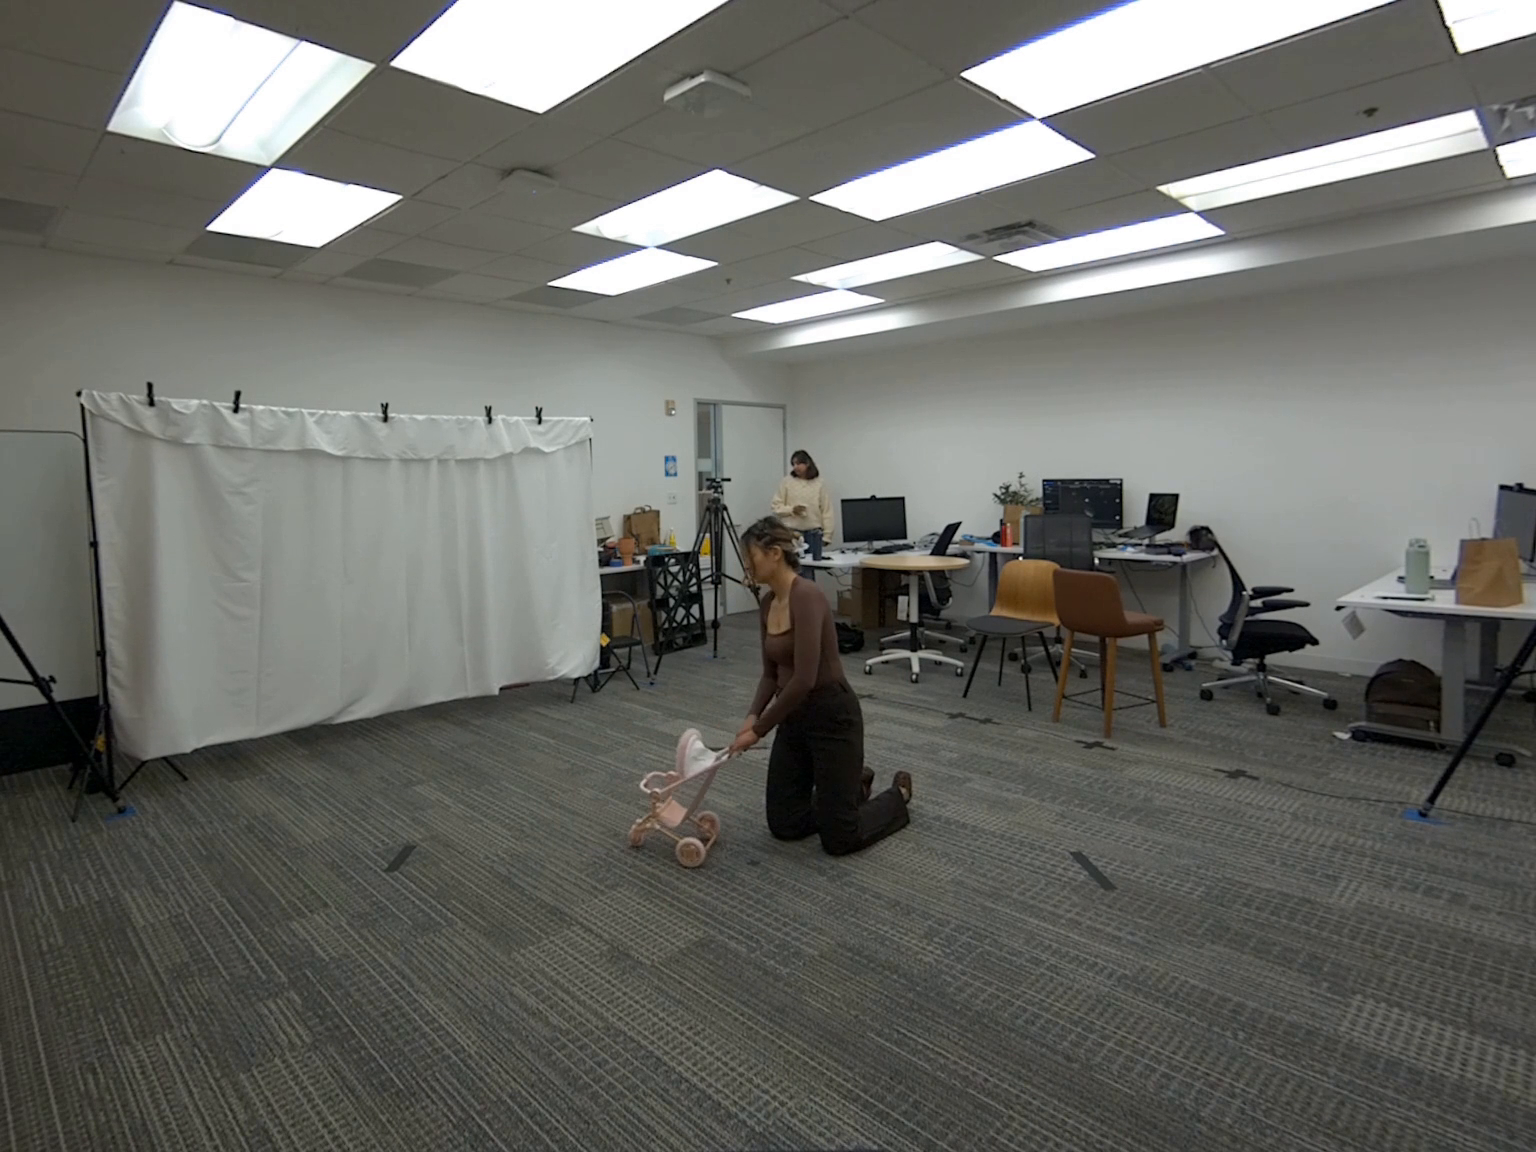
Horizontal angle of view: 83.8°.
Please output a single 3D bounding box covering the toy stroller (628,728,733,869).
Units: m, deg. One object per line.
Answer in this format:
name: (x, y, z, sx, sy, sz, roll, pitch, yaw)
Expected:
toy stroller: (-0.313, 0.812, 3.204, 0.348, 0.532, 0.277, 19, 9, 17)
